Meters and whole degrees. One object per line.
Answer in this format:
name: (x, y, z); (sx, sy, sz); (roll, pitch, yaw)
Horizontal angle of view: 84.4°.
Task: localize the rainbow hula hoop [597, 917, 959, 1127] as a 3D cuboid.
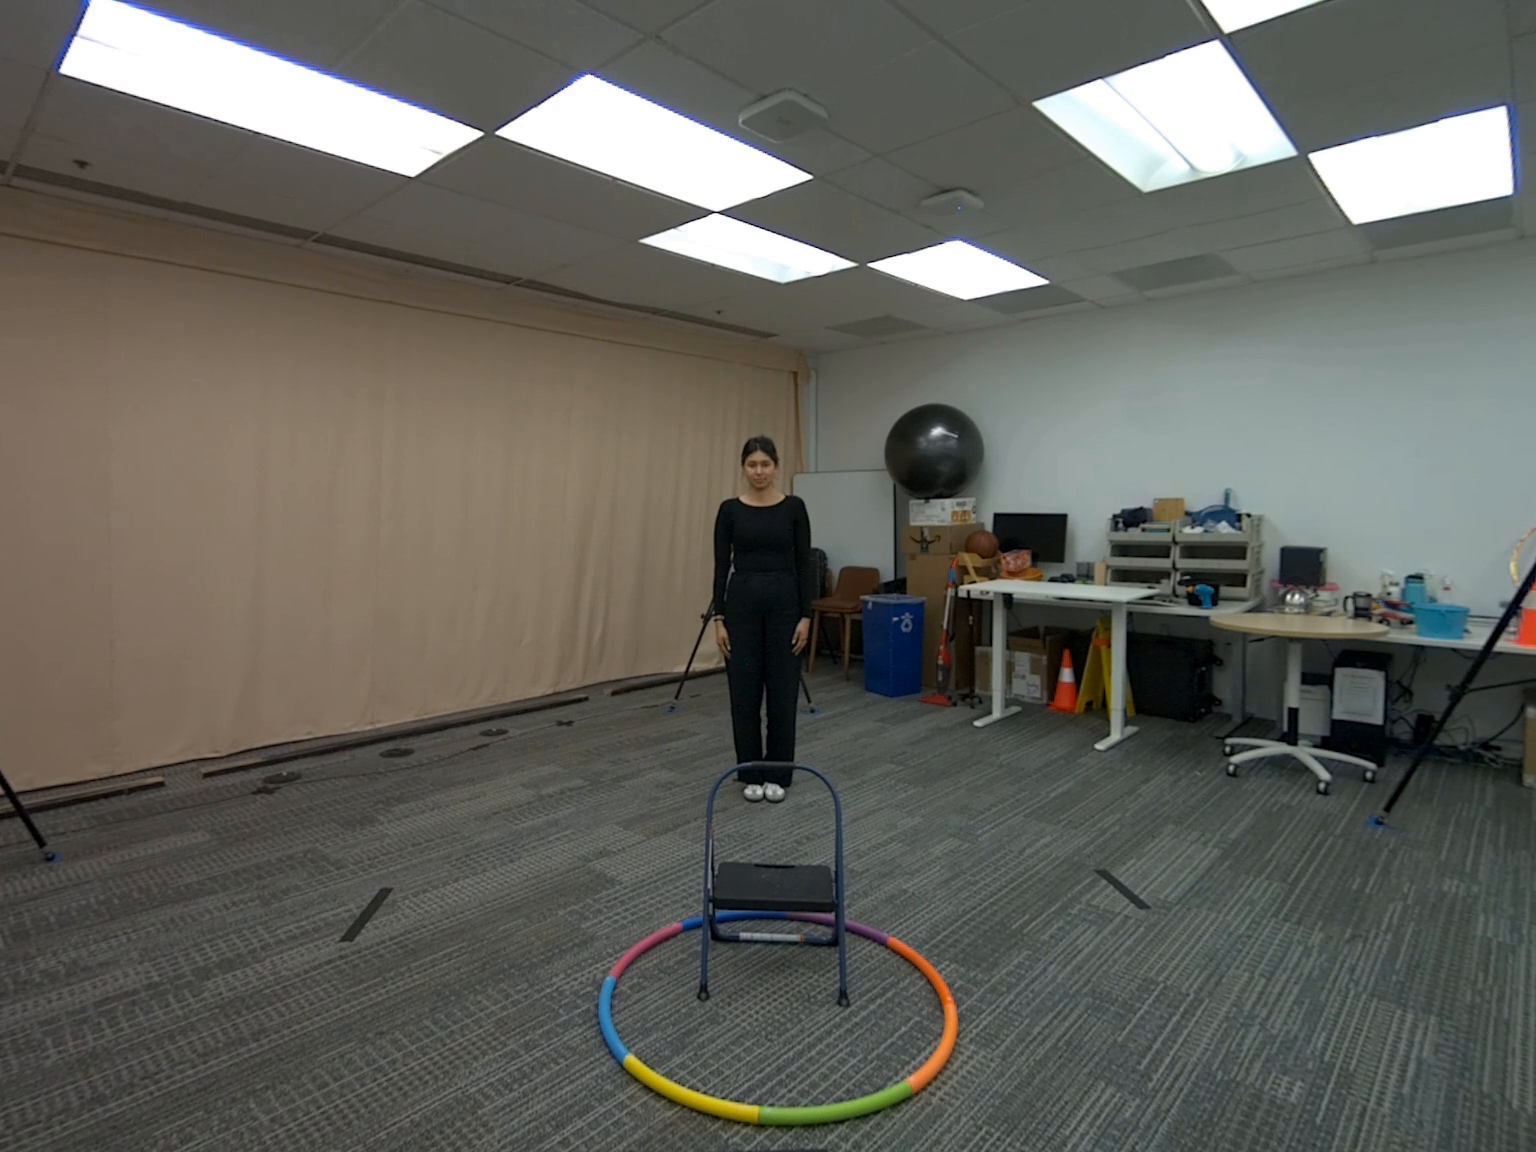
rainbow hula hoop: (0.025, 1.163, 2.377); (0.978, 0.035, 0.982); (0, 4, -2)
